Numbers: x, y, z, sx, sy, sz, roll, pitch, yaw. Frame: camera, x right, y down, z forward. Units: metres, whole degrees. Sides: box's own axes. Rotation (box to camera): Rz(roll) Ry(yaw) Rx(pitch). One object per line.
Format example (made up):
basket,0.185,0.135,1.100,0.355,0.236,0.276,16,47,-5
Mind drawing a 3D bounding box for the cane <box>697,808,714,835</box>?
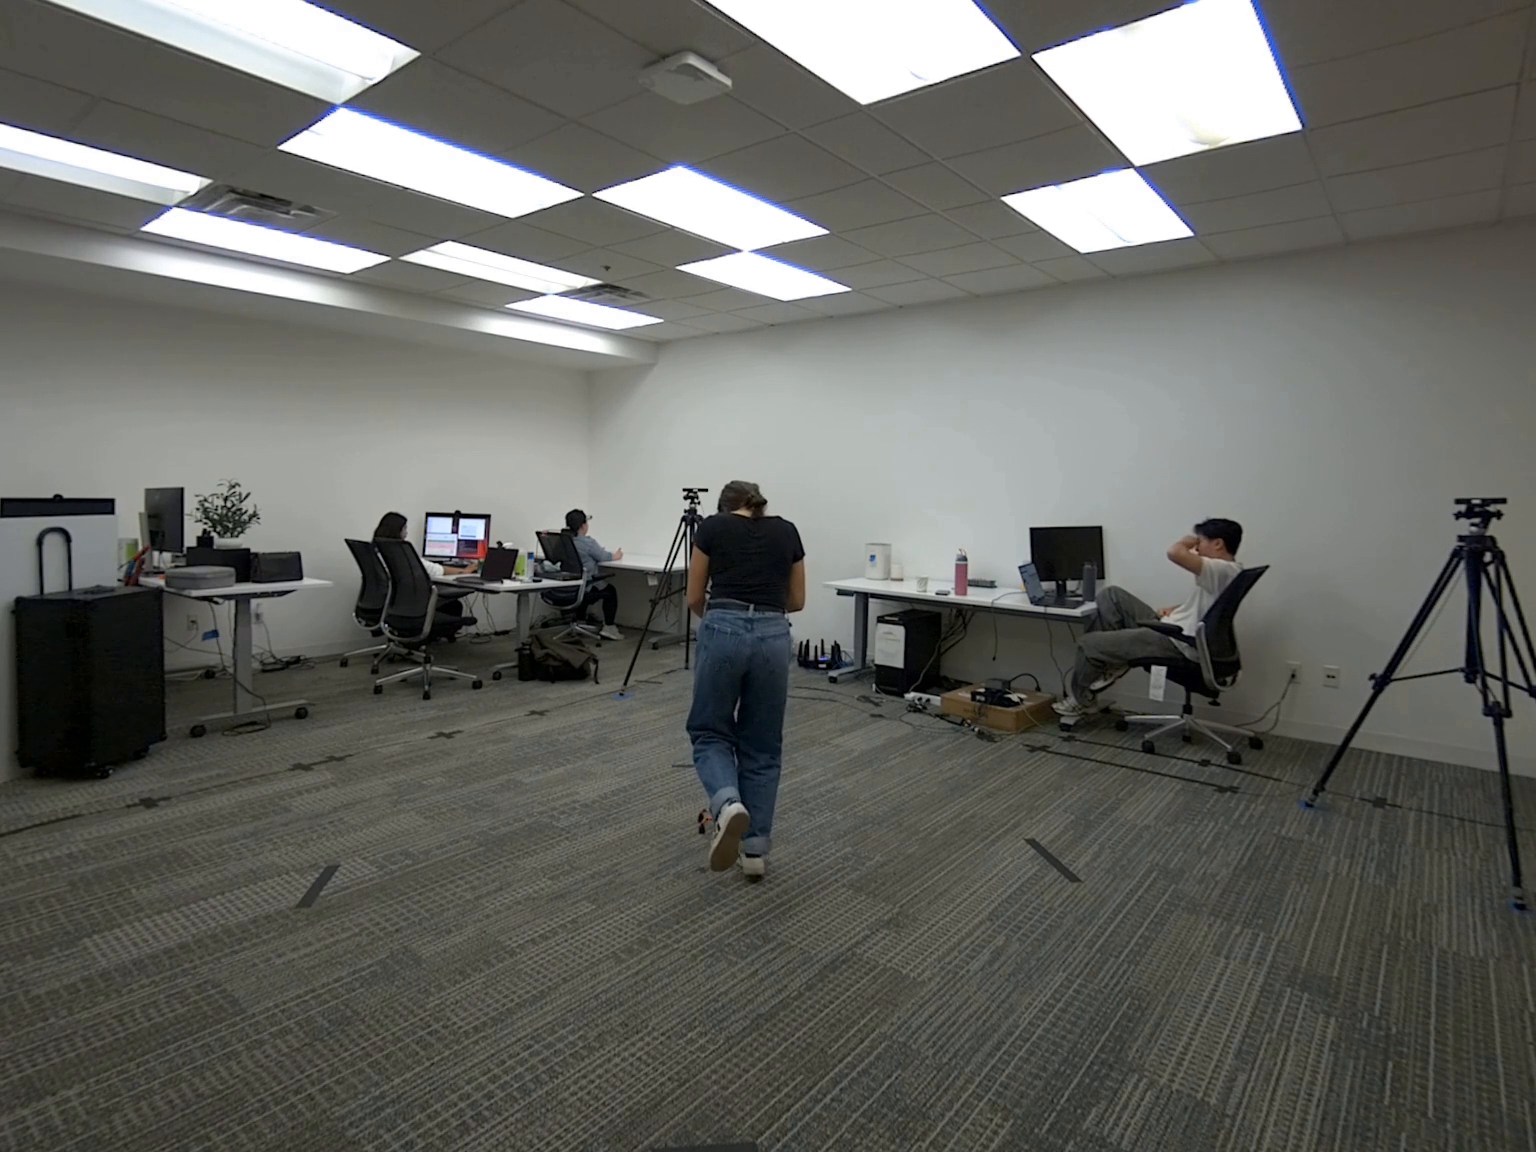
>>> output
cane,-0.171,0.567,3.488,0.205,0.906,0.153,1,2,-5
